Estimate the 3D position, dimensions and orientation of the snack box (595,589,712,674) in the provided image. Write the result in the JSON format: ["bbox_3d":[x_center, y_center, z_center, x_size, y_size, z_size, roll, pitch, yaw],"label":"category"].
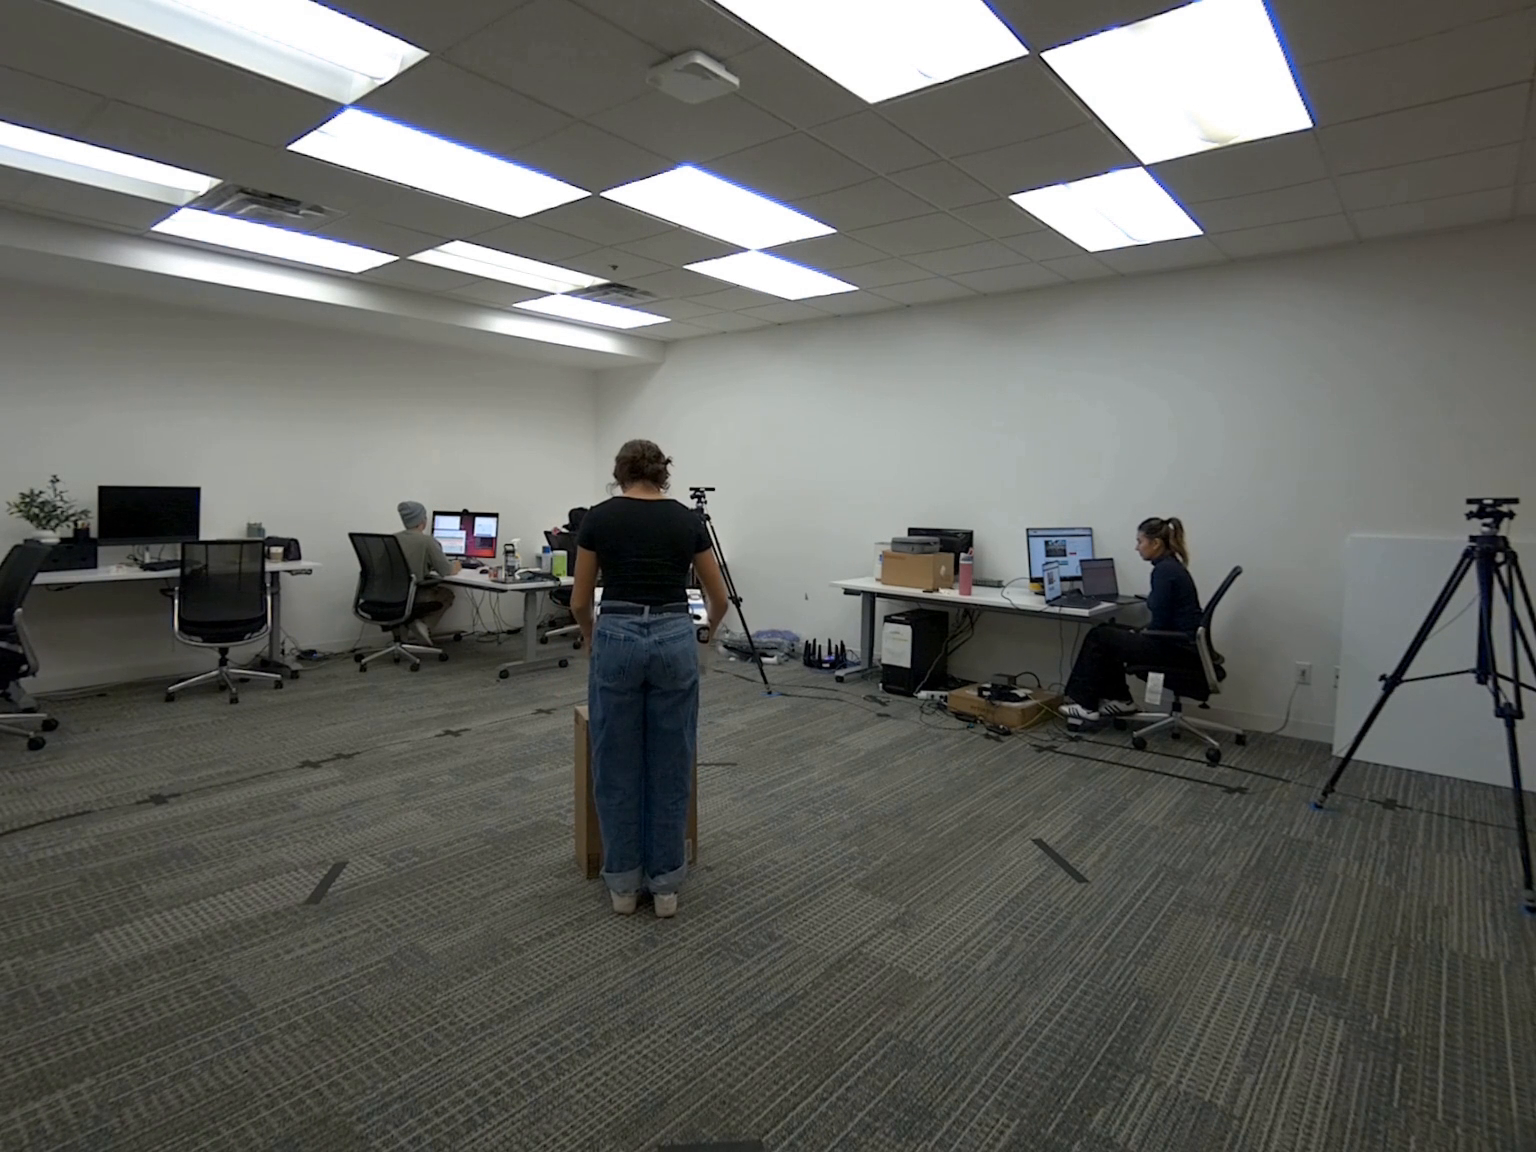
[{"bbox_3d":[-0.443,0.197,3.103,0.401,0.203,0.349,1,18,-9],"label":"snack box"}]
